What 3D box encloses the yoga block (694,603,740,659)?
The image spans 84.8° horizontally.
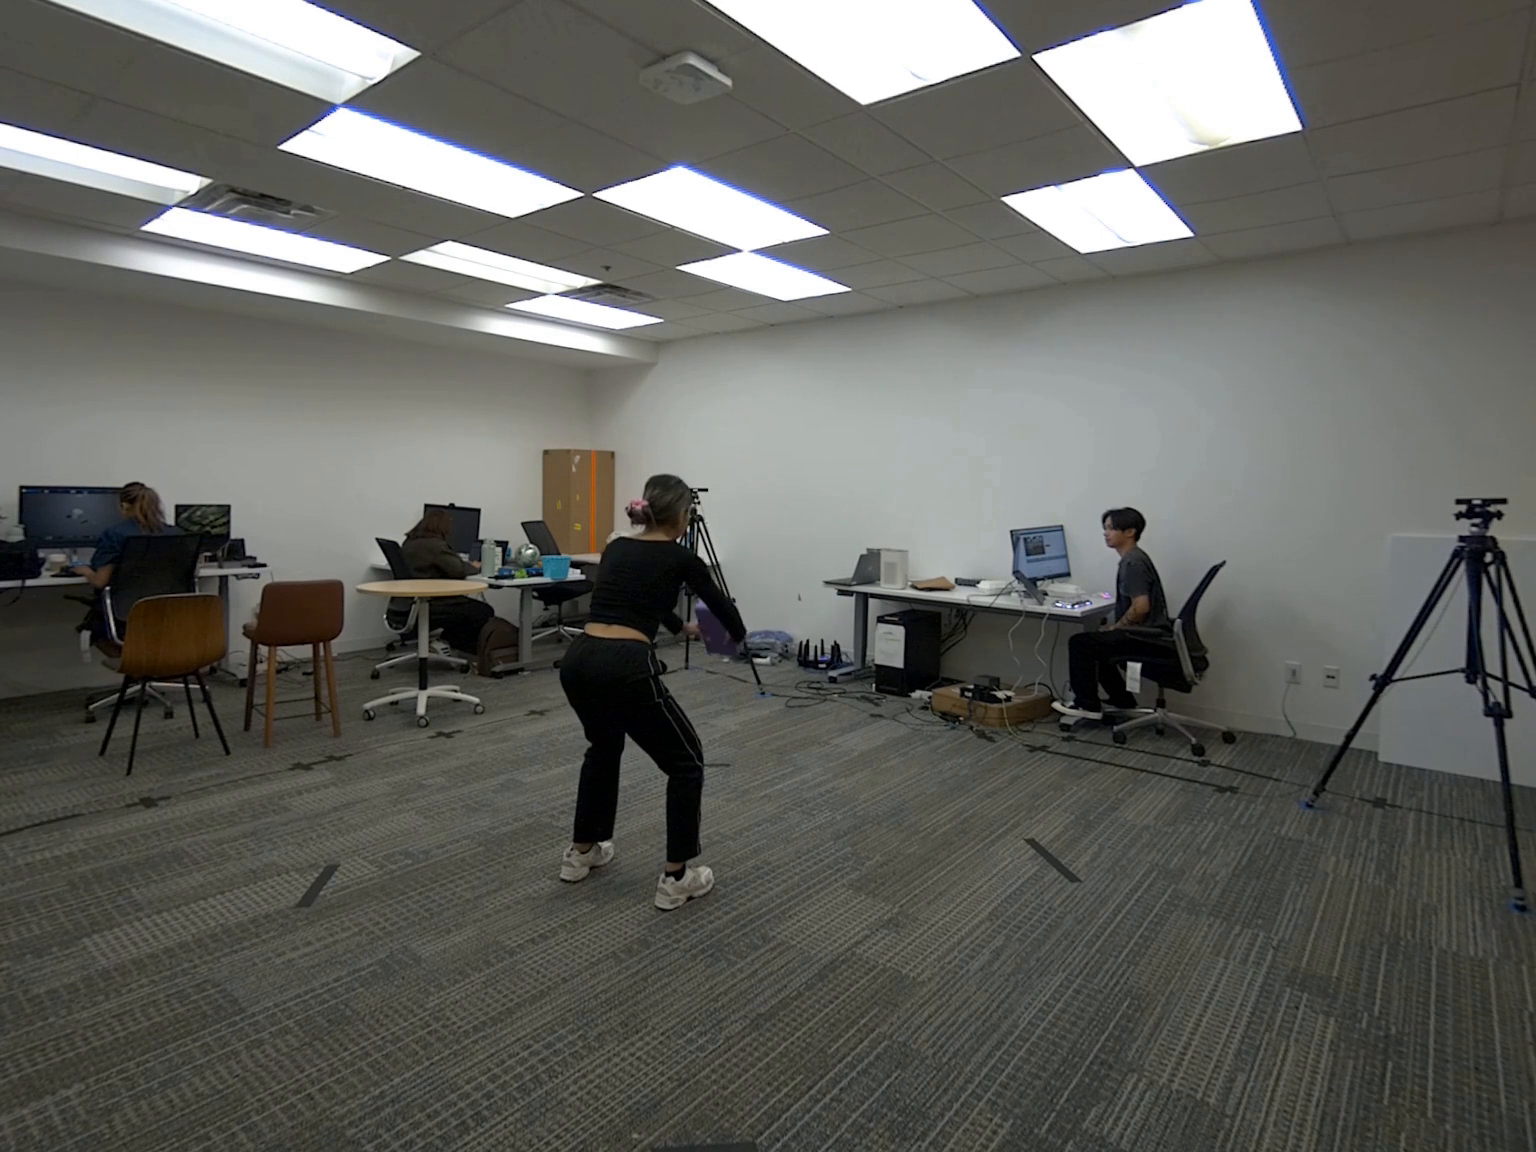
[{"bbox_3d":[-0.219,0.273,3.452,0.152,0.225,0.076,-9,17,23],"label":"yoga block"}]
